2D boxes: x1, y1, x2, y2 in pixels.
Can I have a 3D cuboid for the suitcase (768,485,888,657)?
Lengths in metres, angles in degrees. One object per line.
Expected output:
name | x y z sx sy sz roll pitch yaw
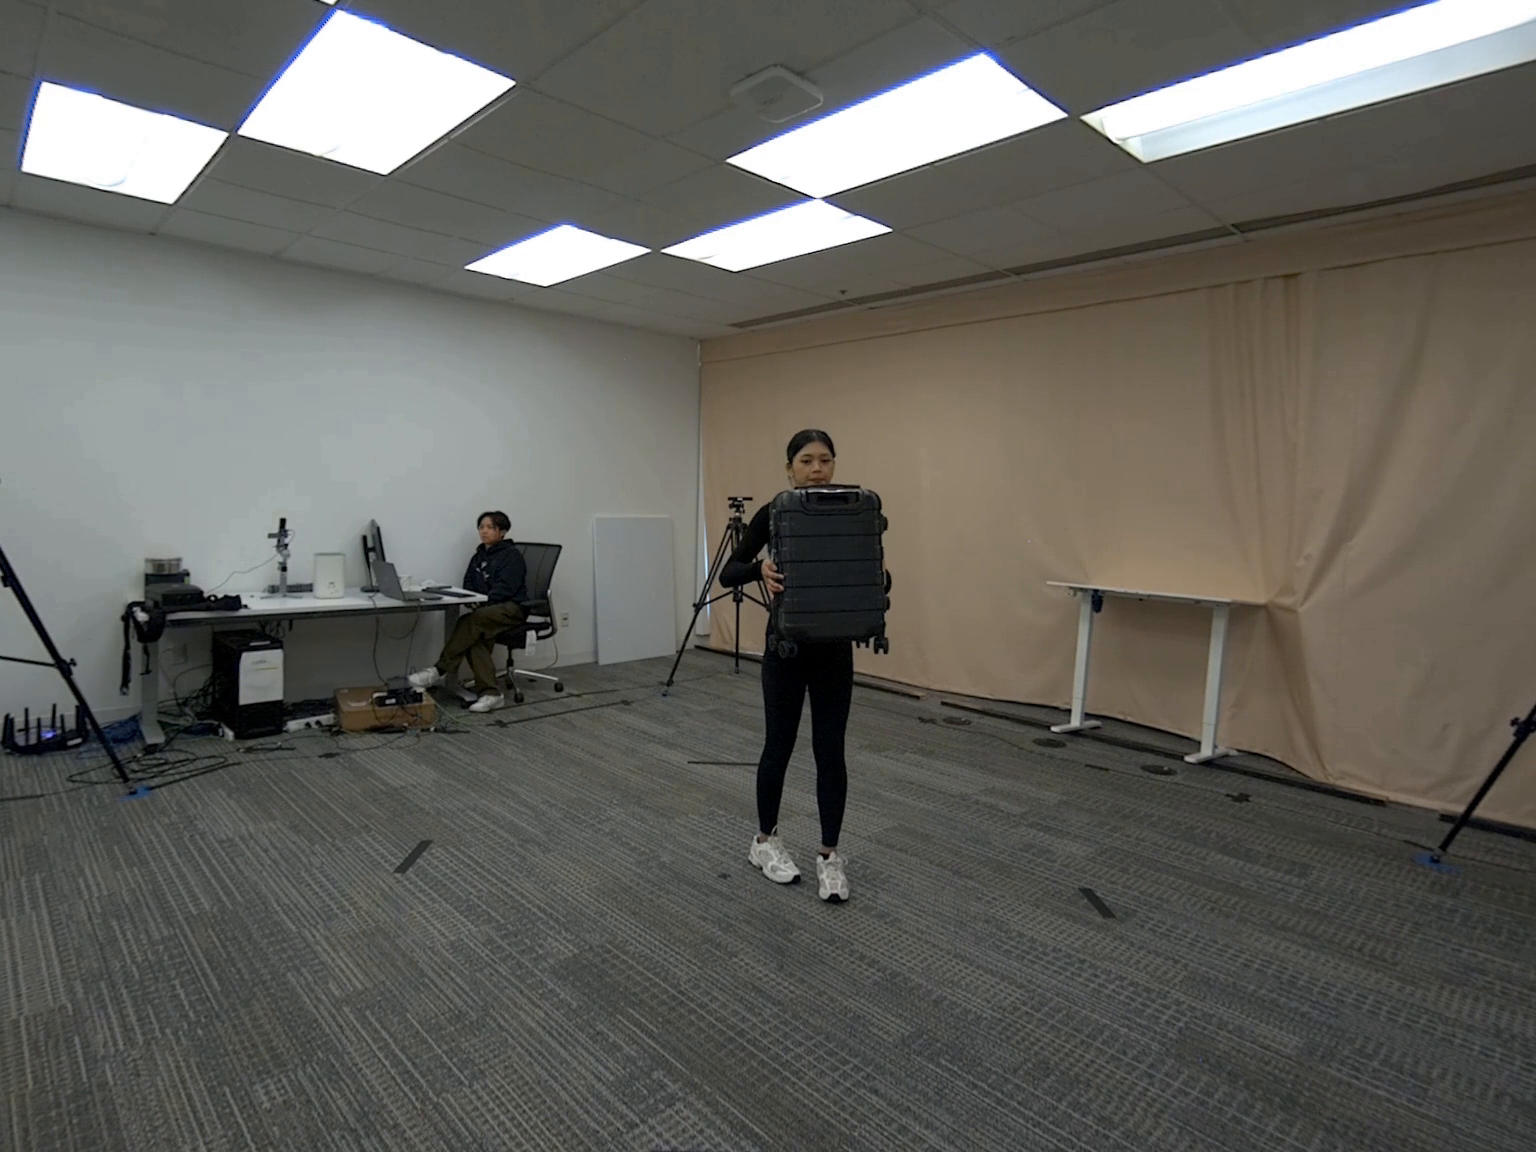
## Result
suitcase | 0.183 -0.025 2.789 0.374 0.549 0.249 -2 0 -6
